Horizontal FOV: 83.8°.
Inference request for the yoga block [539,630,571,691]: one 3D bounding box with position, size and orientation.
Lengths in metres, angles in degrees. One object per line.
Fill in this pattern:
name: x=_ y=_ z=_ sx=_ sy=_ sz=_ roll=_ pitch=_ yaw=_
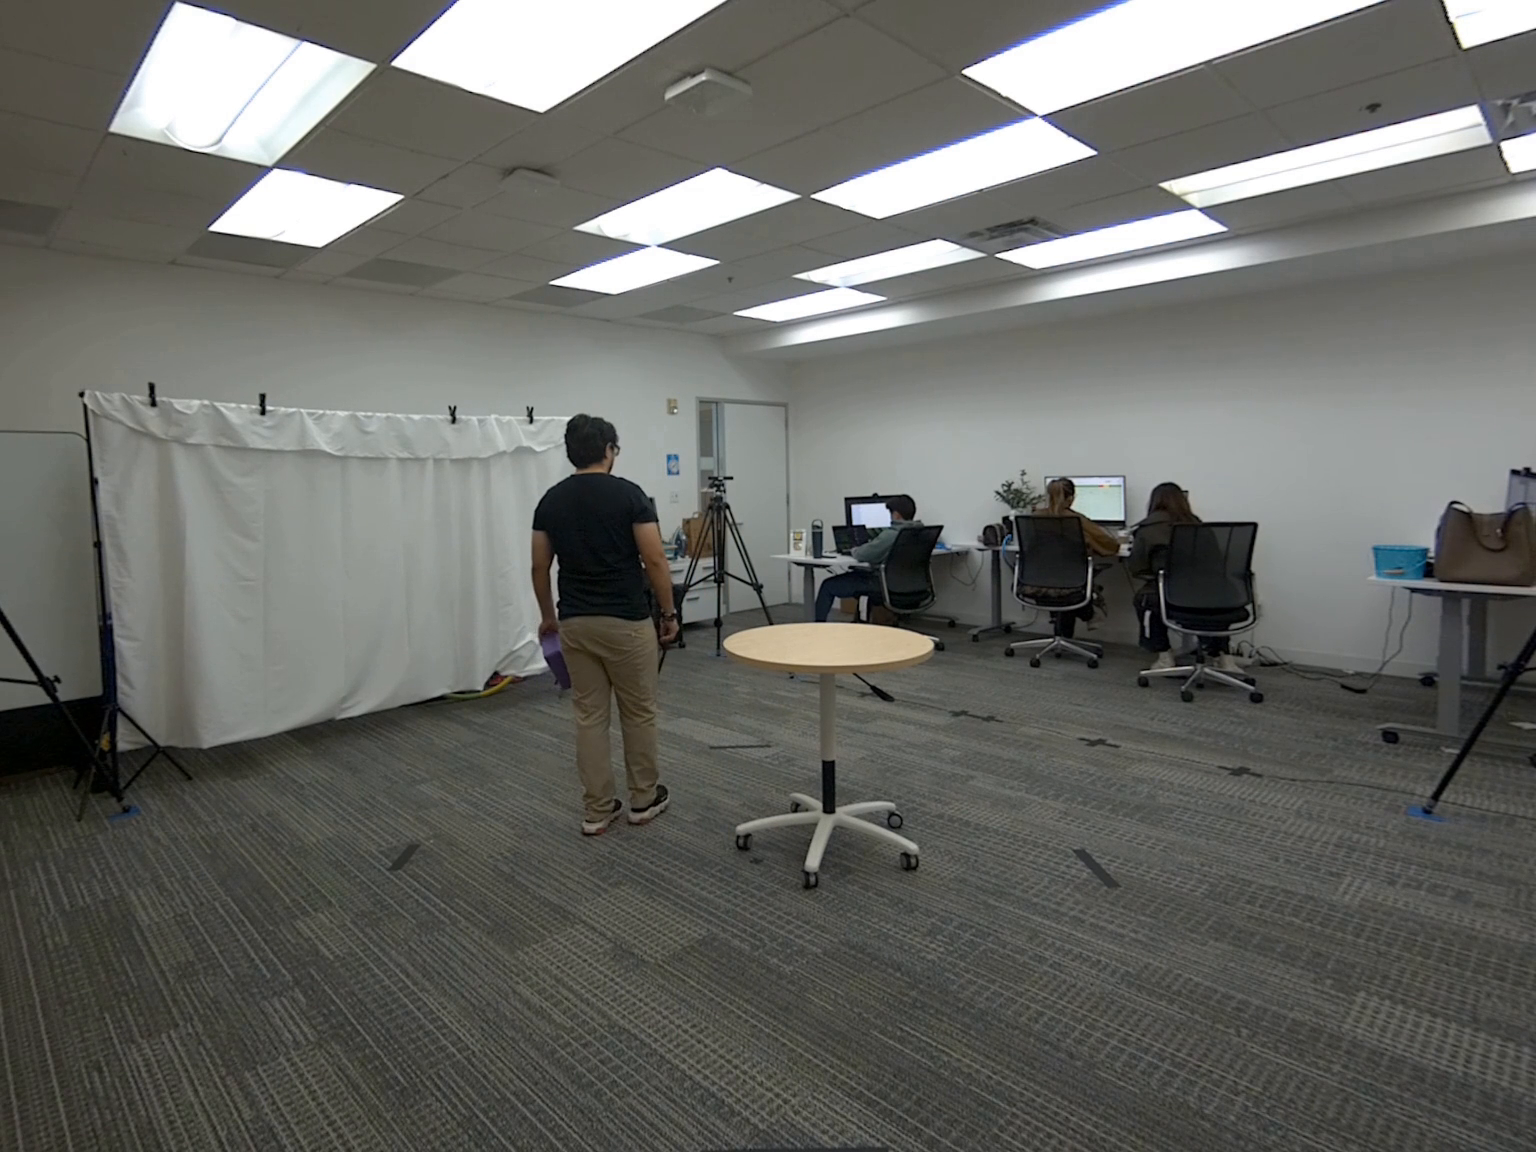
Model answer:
yoga block: x=-0.895 y=0.360 z=3.677 sx=0.076 sy=0.221 sz=0.154 roll=-22 pitch=38 yaw=-3
